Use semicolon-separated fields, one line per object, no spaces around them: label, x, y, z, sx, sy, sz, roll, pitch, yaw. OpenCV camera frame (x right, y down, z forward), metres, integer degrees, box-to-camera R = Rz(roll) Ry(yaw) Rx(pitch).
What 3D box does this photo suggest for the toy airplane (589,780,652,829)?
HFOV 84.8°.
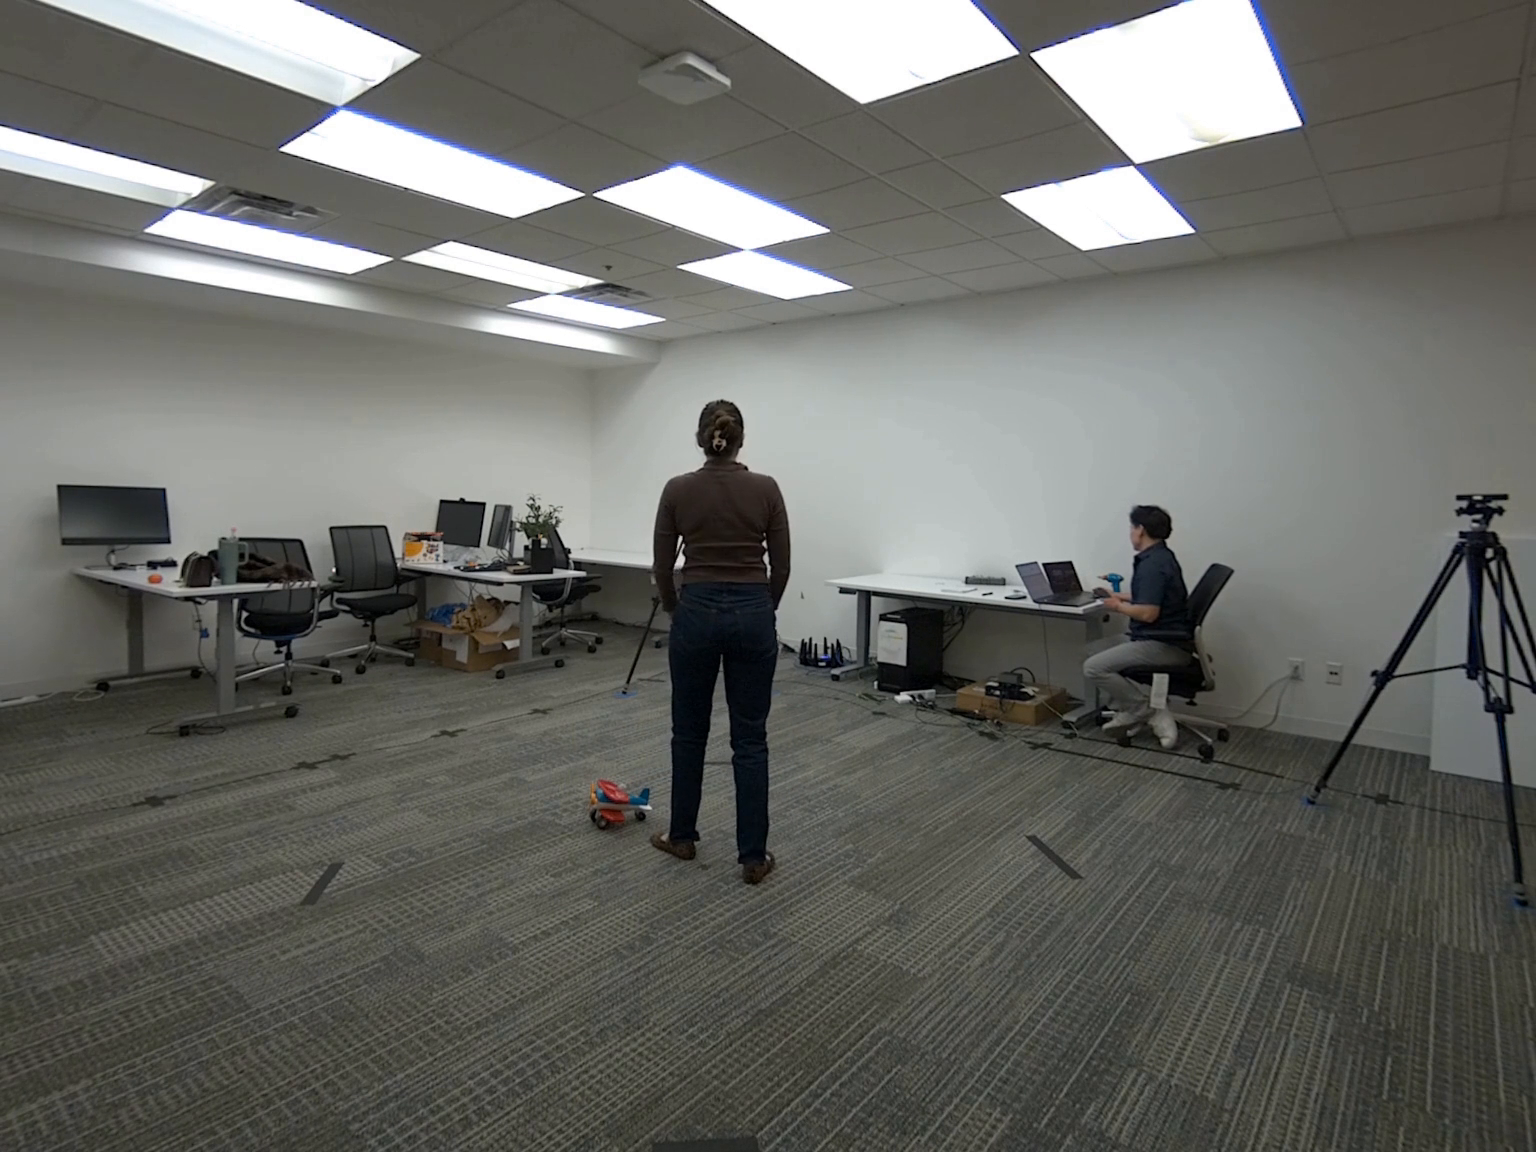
toy airplane;-0.639;0.943;3.540;0.259;0.156;0.252;3;7;36
